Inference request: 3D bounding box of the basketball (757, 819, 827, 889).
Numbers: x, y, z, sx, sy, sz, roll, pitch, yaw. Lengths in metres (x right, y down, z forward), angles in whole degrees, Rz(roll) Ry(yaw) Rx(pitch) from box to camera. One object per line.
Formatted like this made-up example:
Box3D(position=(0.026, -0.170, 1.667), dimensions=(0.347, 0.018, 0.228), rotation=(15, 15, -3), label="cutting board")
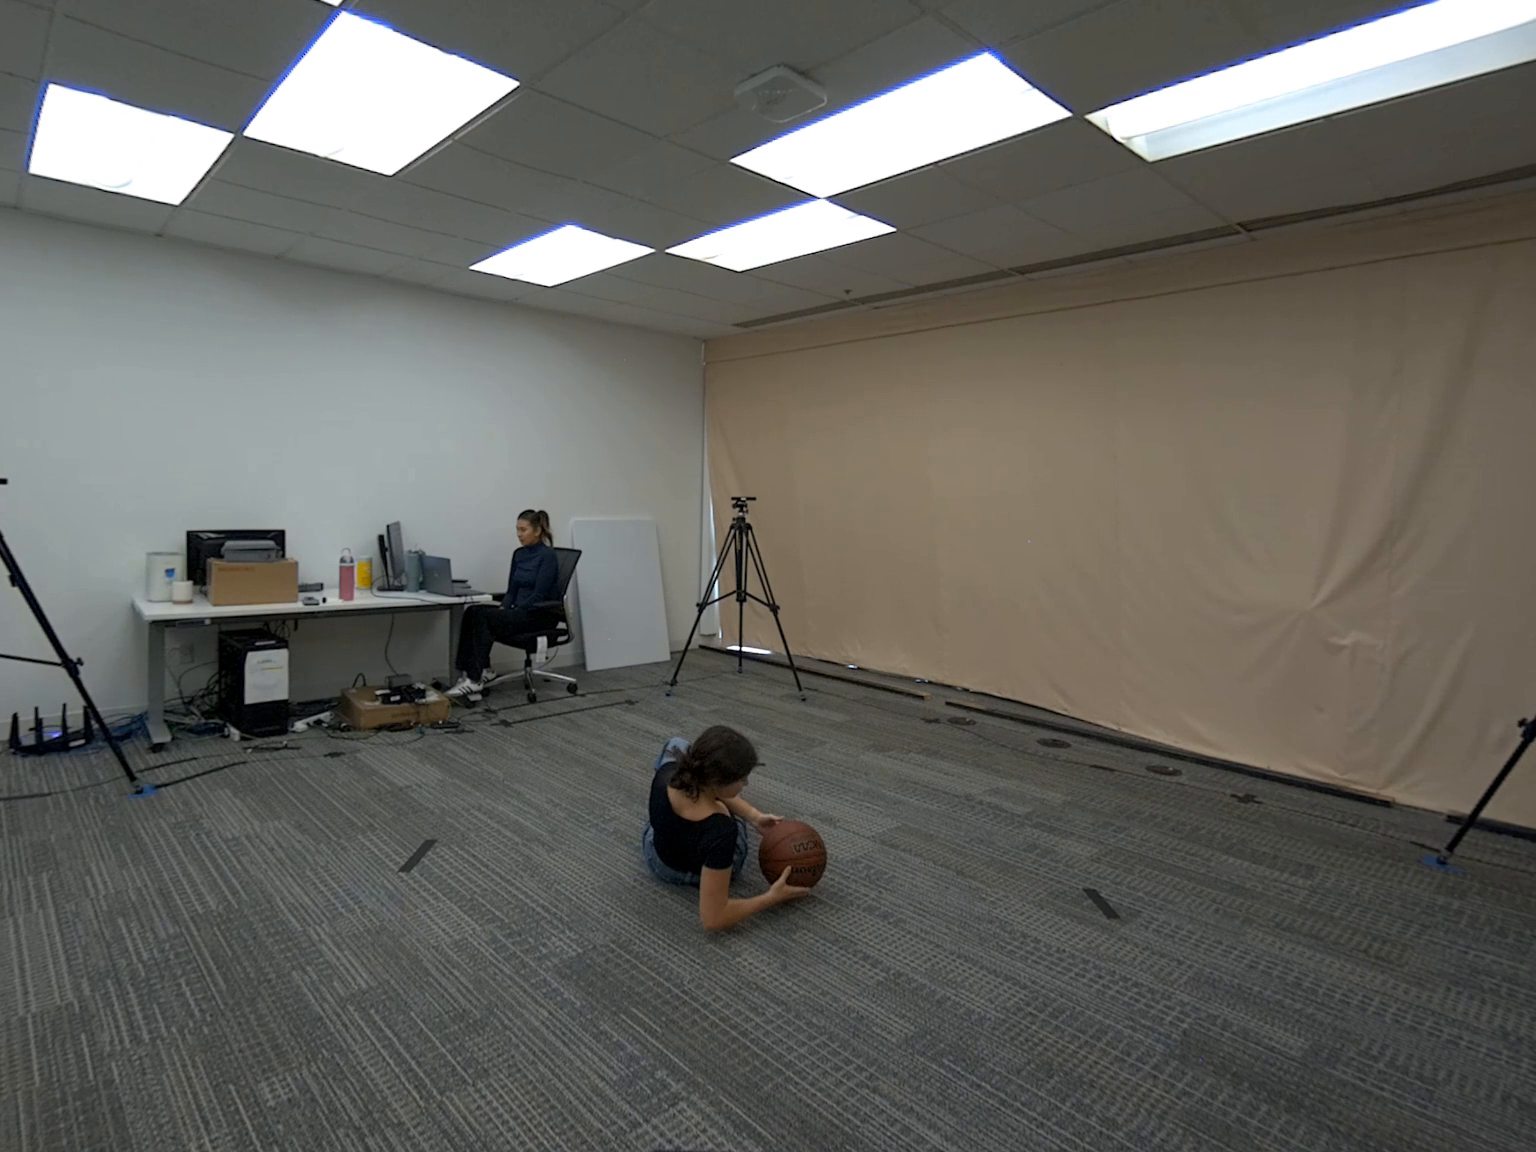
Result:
Box3D(position=(0.074, 0.961, 2.935), dimensions=(0.236, 0.235, 0.237), rotation=(1, 4, -1), label="basketball")
